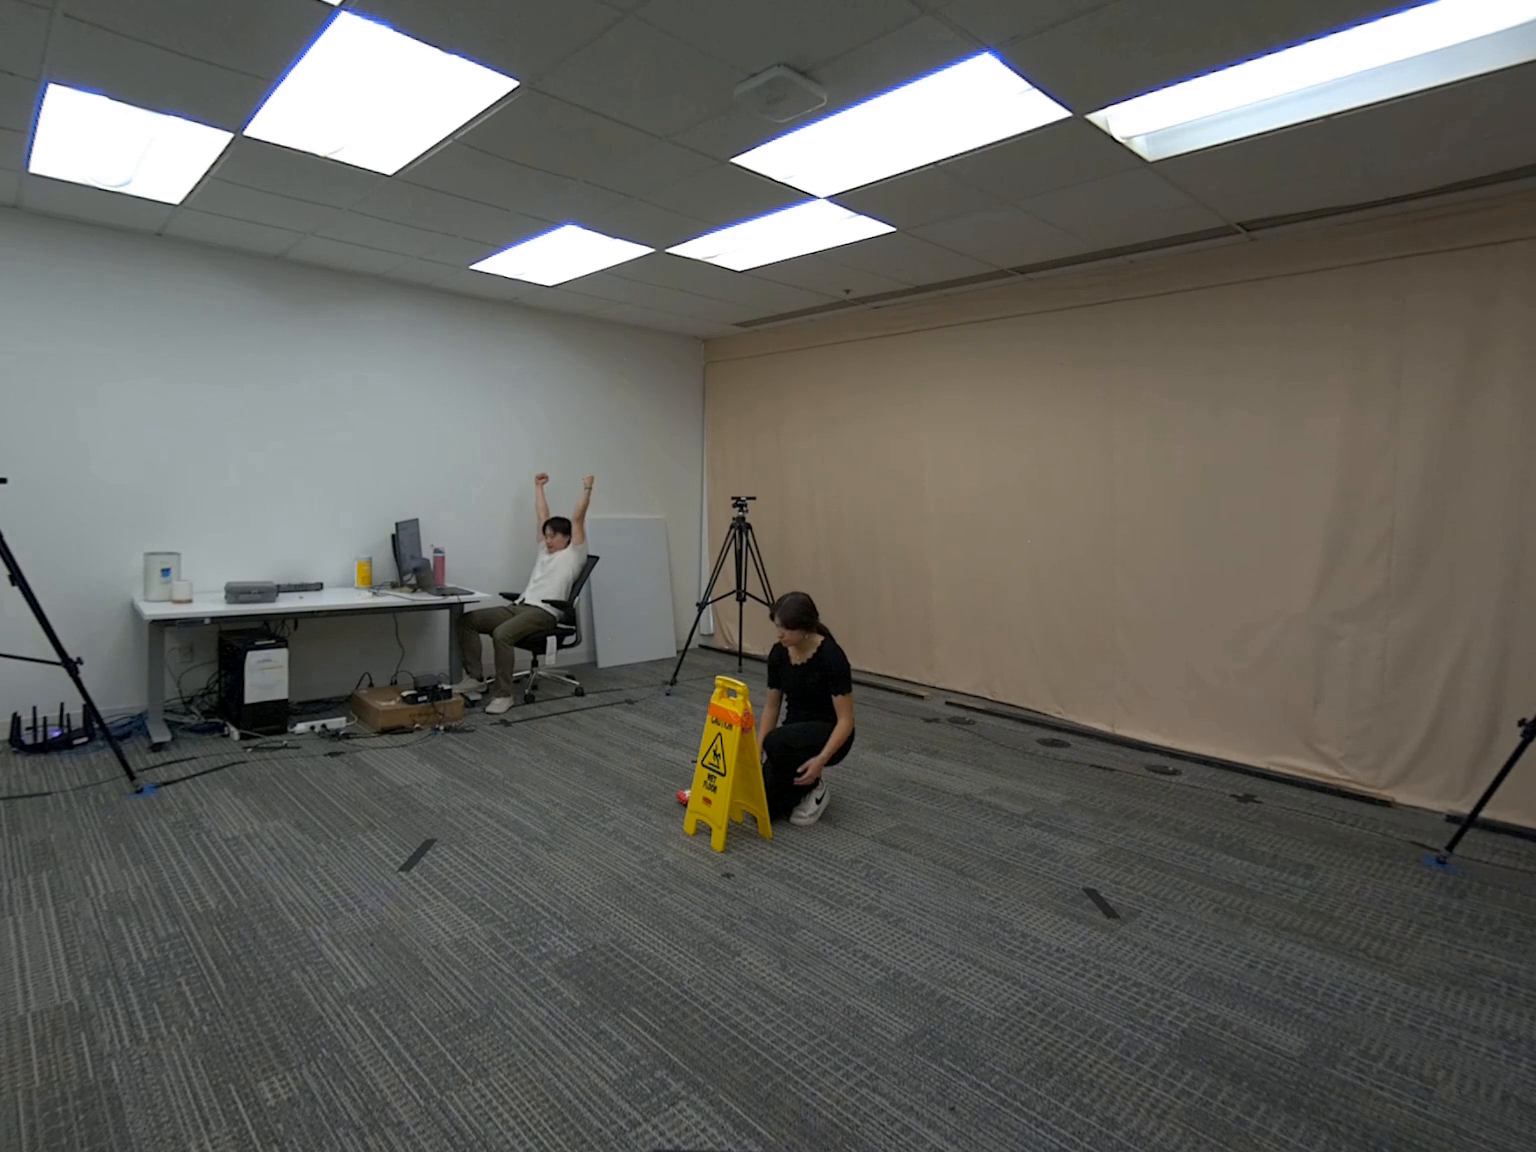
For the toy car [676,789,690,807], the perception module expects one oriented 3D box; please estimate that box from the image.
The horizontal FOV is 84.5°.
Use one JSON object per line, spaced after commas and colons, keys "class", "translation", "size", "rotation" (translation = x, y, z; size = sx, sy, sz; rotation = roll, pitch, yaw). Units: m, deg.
{"class": "toy car", "translation": [-0.289, 1.000, 3.859], "size": [0.251, 0.082, 0.133], "rotation": [-12, 10, -25]}
